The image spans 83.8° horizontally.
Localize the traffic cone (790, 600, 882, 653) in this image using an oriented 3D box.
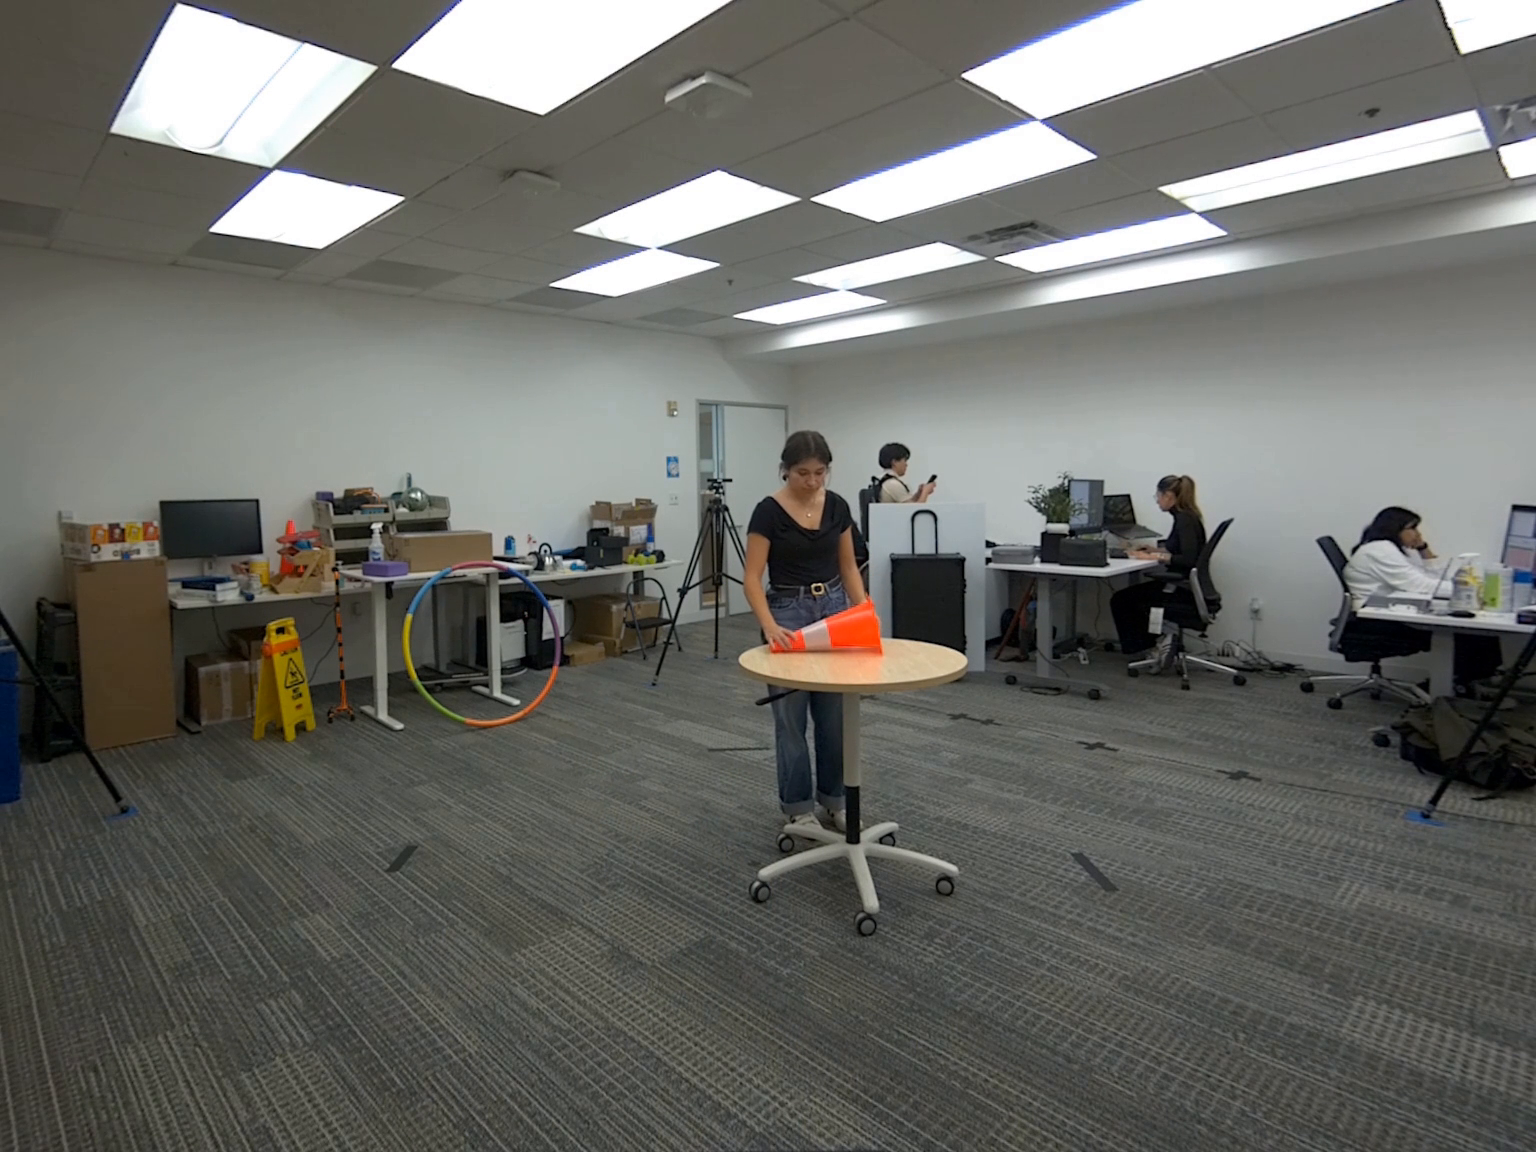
[{"bbox_3d":[0.191,0.216,3.022,0.384,0.201,0.207,-15,9,0],"label":"traffic cone"}]
